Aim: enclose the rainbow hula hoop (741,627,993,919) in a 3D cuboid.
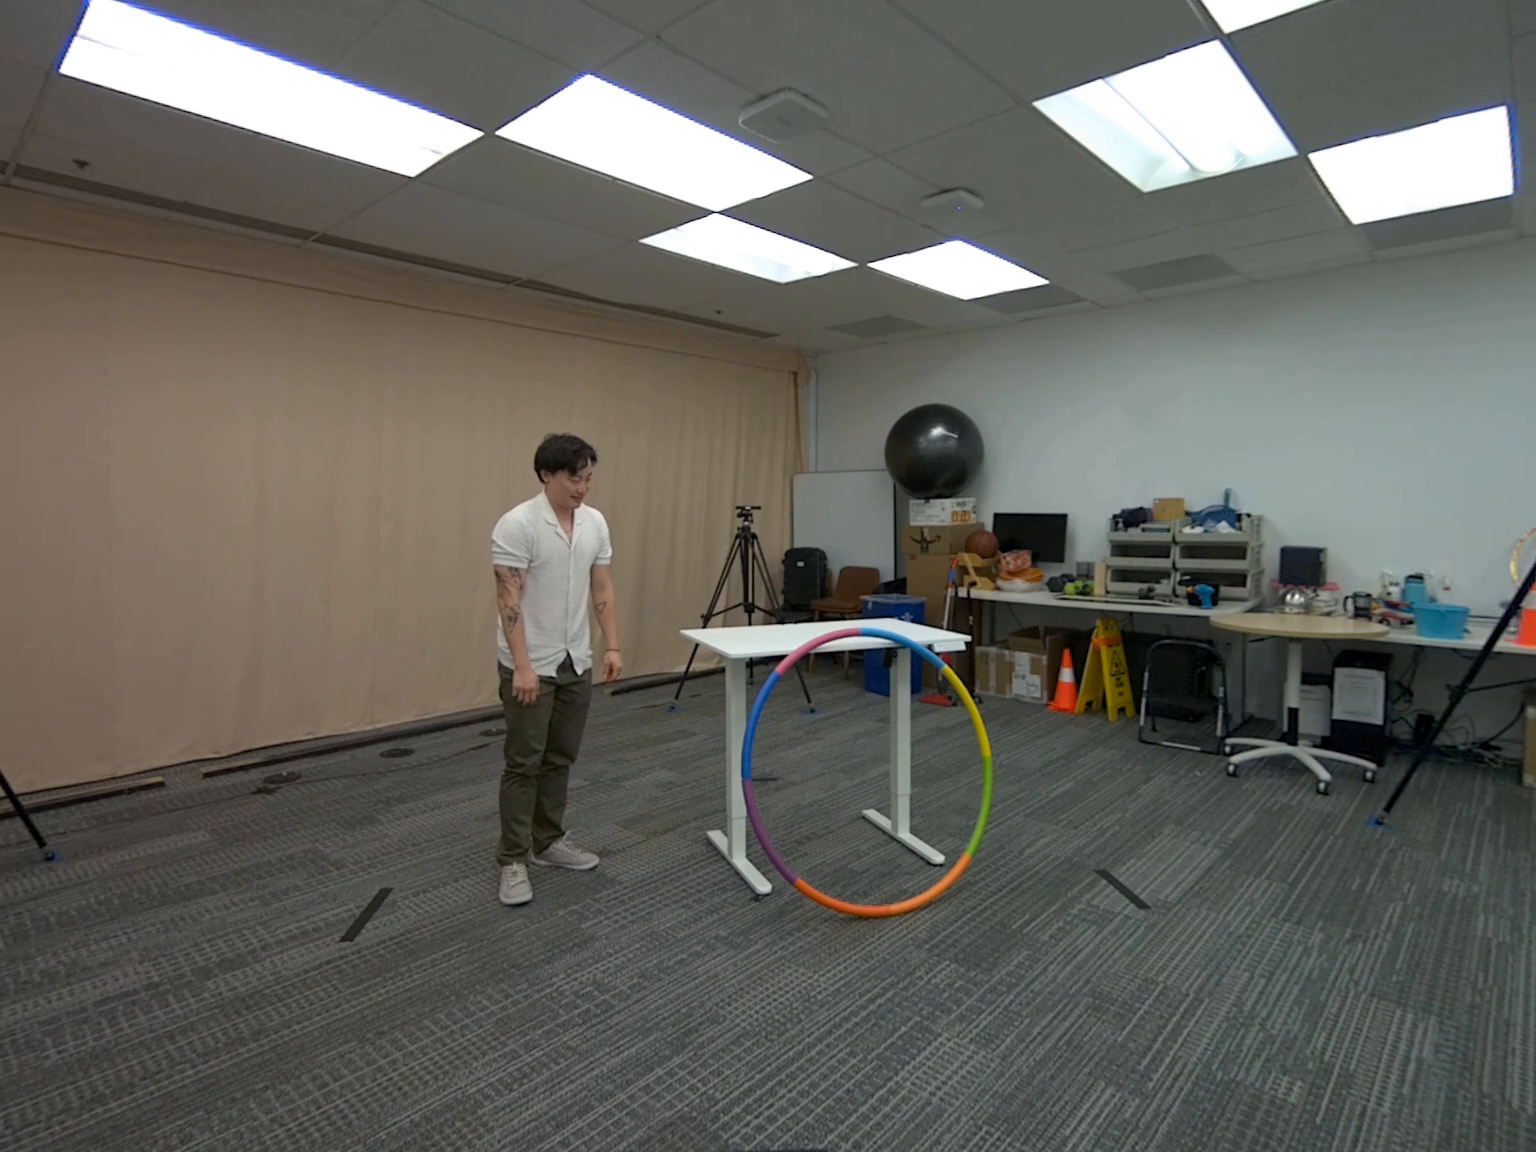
[{"bbox_3d":[0.385,0.681,2.960,0.959,0.987,0.036,-2,-13,-20],"label":"rainbow hula hoop"}]
